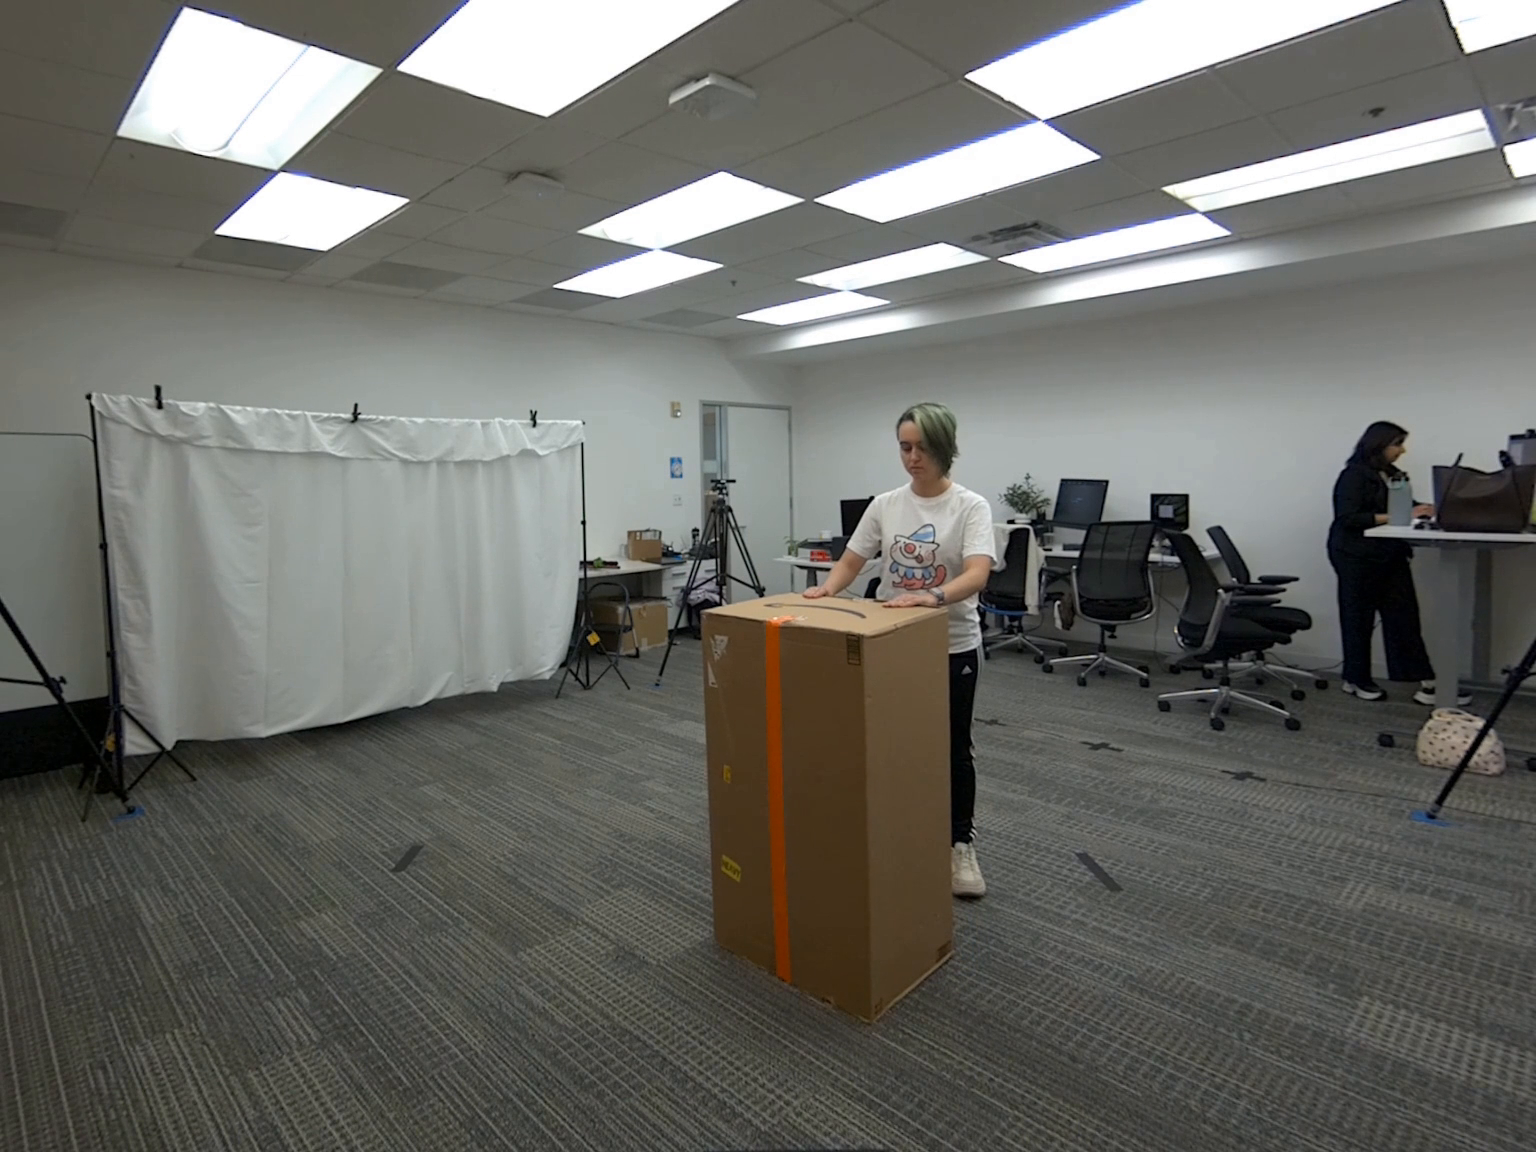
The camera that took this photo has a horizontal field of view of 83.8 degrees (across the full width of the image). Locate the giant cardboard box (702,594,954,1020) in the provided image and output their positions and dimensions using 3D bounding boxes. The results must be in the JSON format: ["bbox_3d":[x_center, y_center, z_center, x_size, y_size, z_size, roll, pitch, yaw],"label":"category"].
[{"bbox_3d":[0.167,0.607,2.484,0.602,1.022,0.435,3,7,43],"label":"giant cardboard box"}]
